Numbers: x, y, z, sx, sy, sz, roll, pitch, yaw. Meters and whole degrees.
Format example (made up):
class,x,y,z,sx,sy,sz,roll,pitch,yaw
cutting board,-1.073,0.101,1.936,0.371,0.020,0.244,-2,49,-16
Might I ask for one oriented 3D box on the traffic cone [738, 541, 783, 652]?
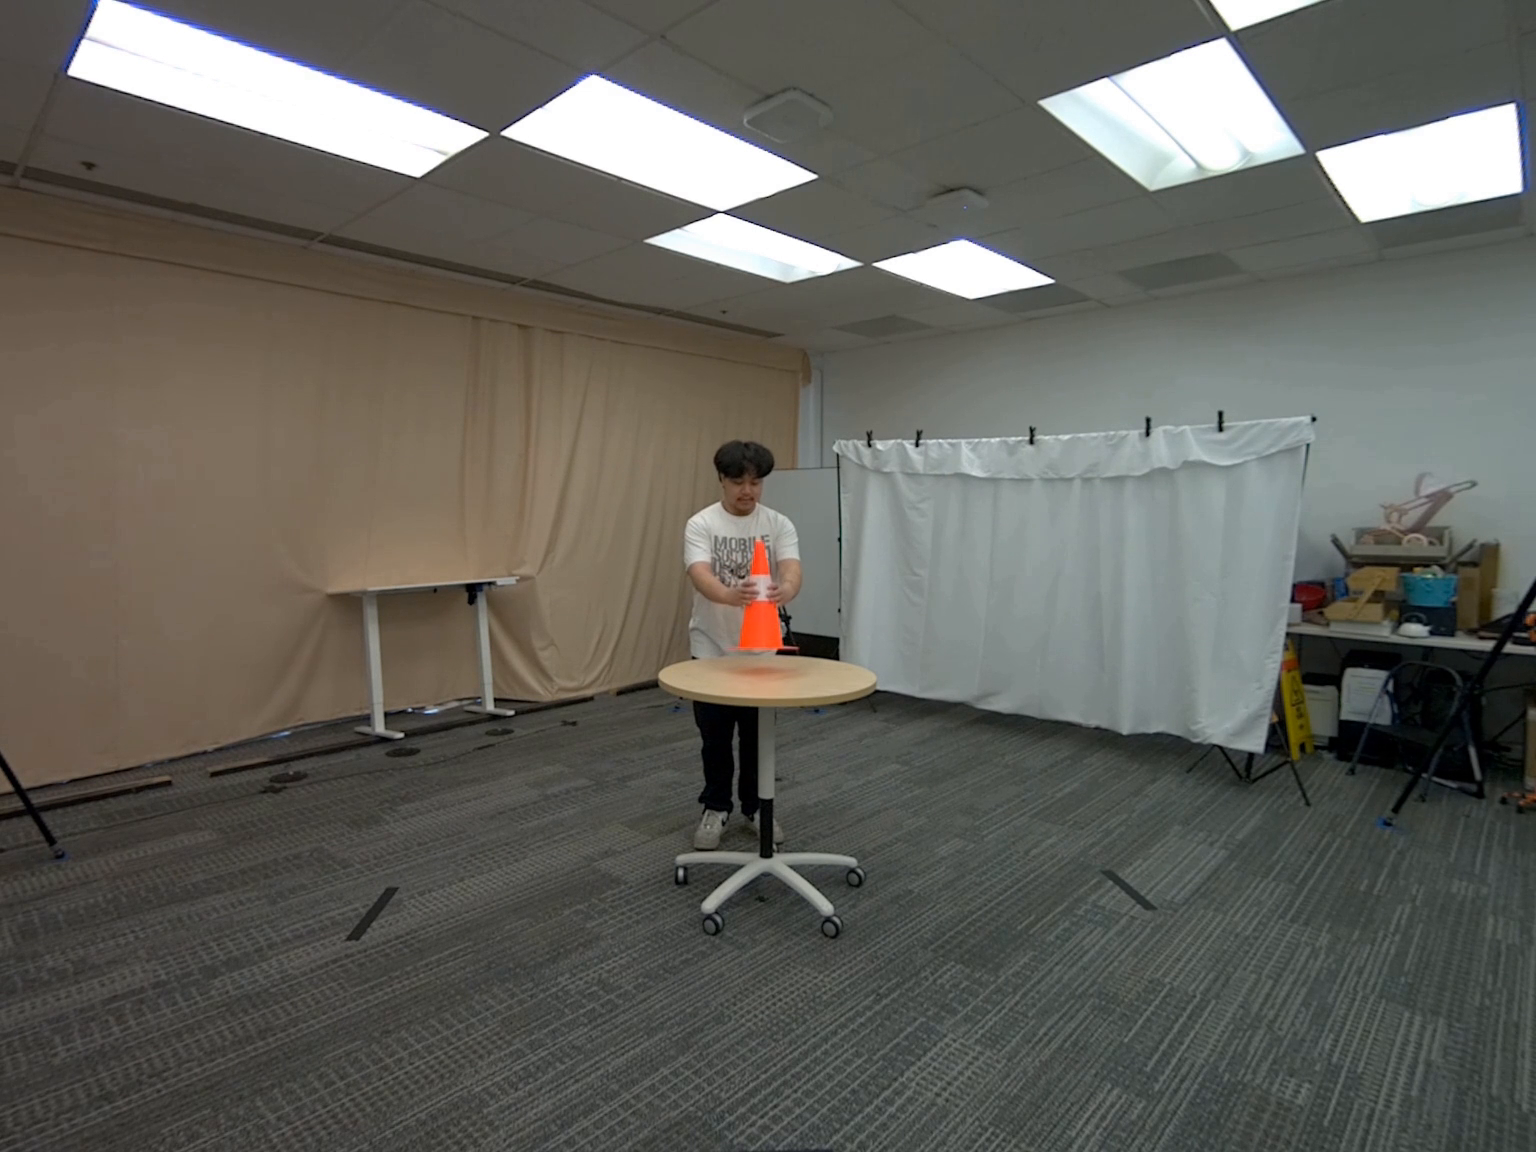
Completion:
class,x,y,z,sx,sy,sz,roll,pitch,yaw
traffic cone,-0.025,0.068,3.021,0.211,0.384,0.197,-2,-4,39
